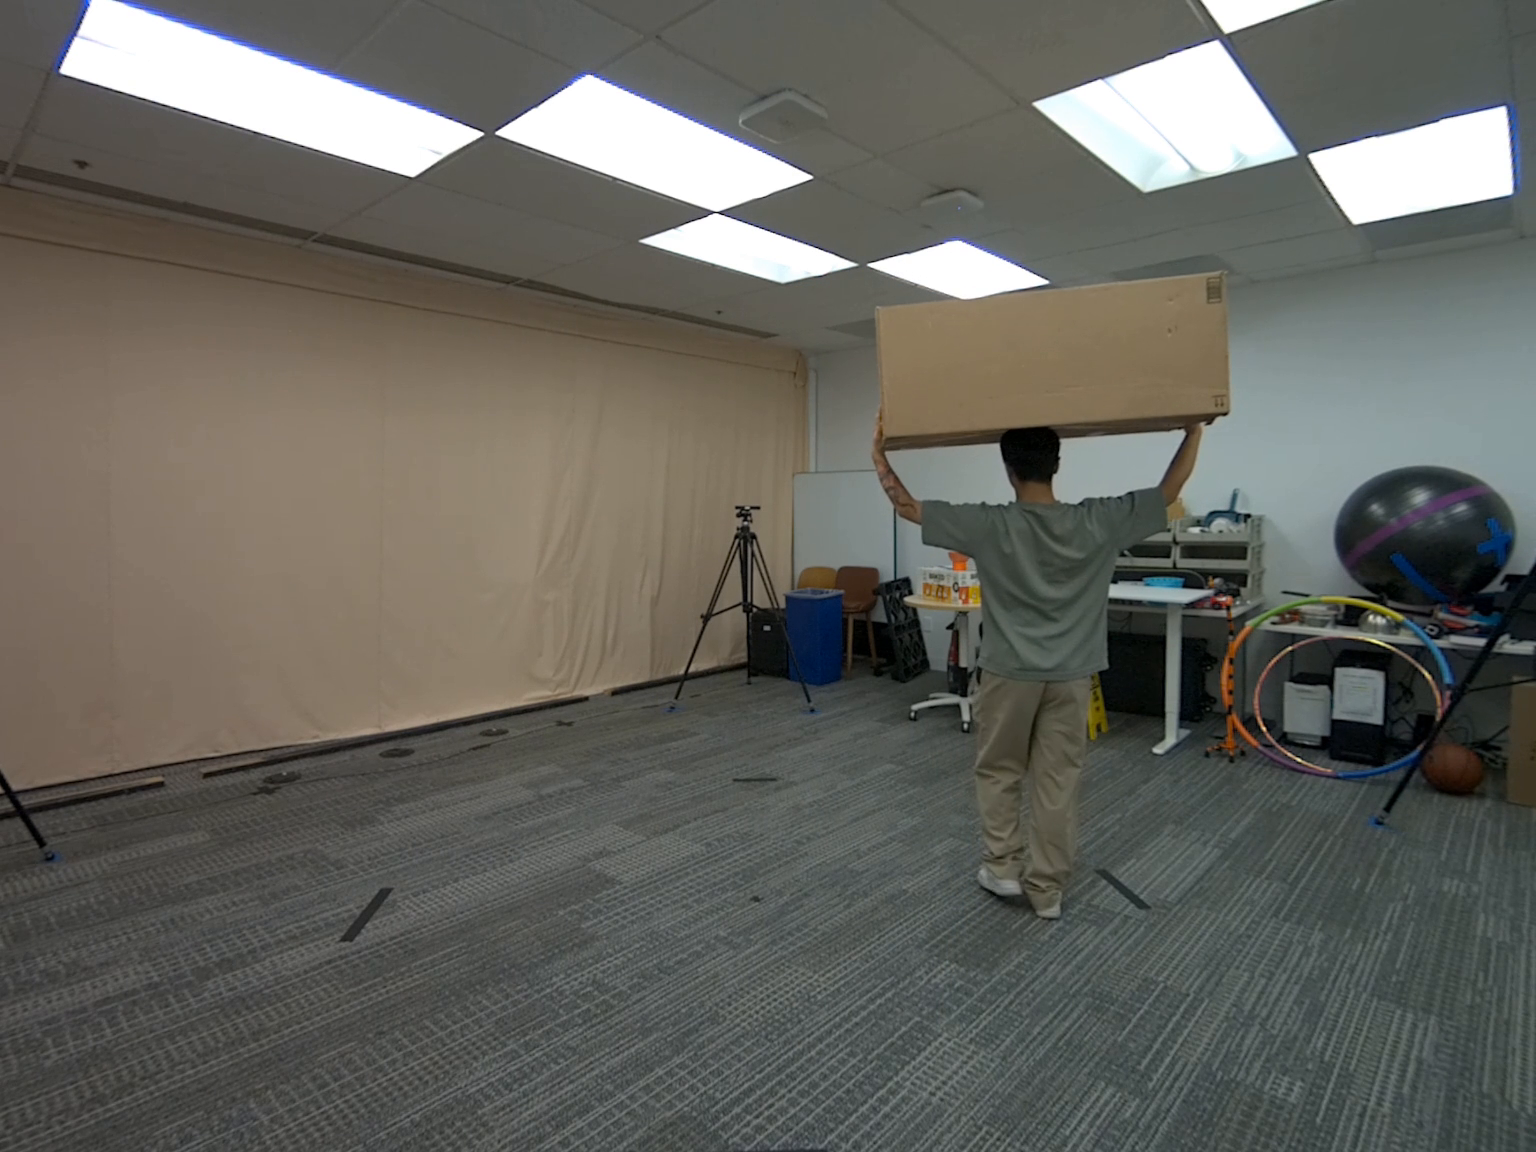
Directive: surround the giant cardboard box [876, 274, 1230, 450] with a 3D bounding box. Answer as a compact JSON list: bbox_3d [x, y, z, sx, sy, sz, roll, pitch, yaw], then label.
[{"bbox_3d":[0.901,-0.691,2.874,1.038,0.425,0.572,-3,4,11],"label":"giant cardboard box"}]
